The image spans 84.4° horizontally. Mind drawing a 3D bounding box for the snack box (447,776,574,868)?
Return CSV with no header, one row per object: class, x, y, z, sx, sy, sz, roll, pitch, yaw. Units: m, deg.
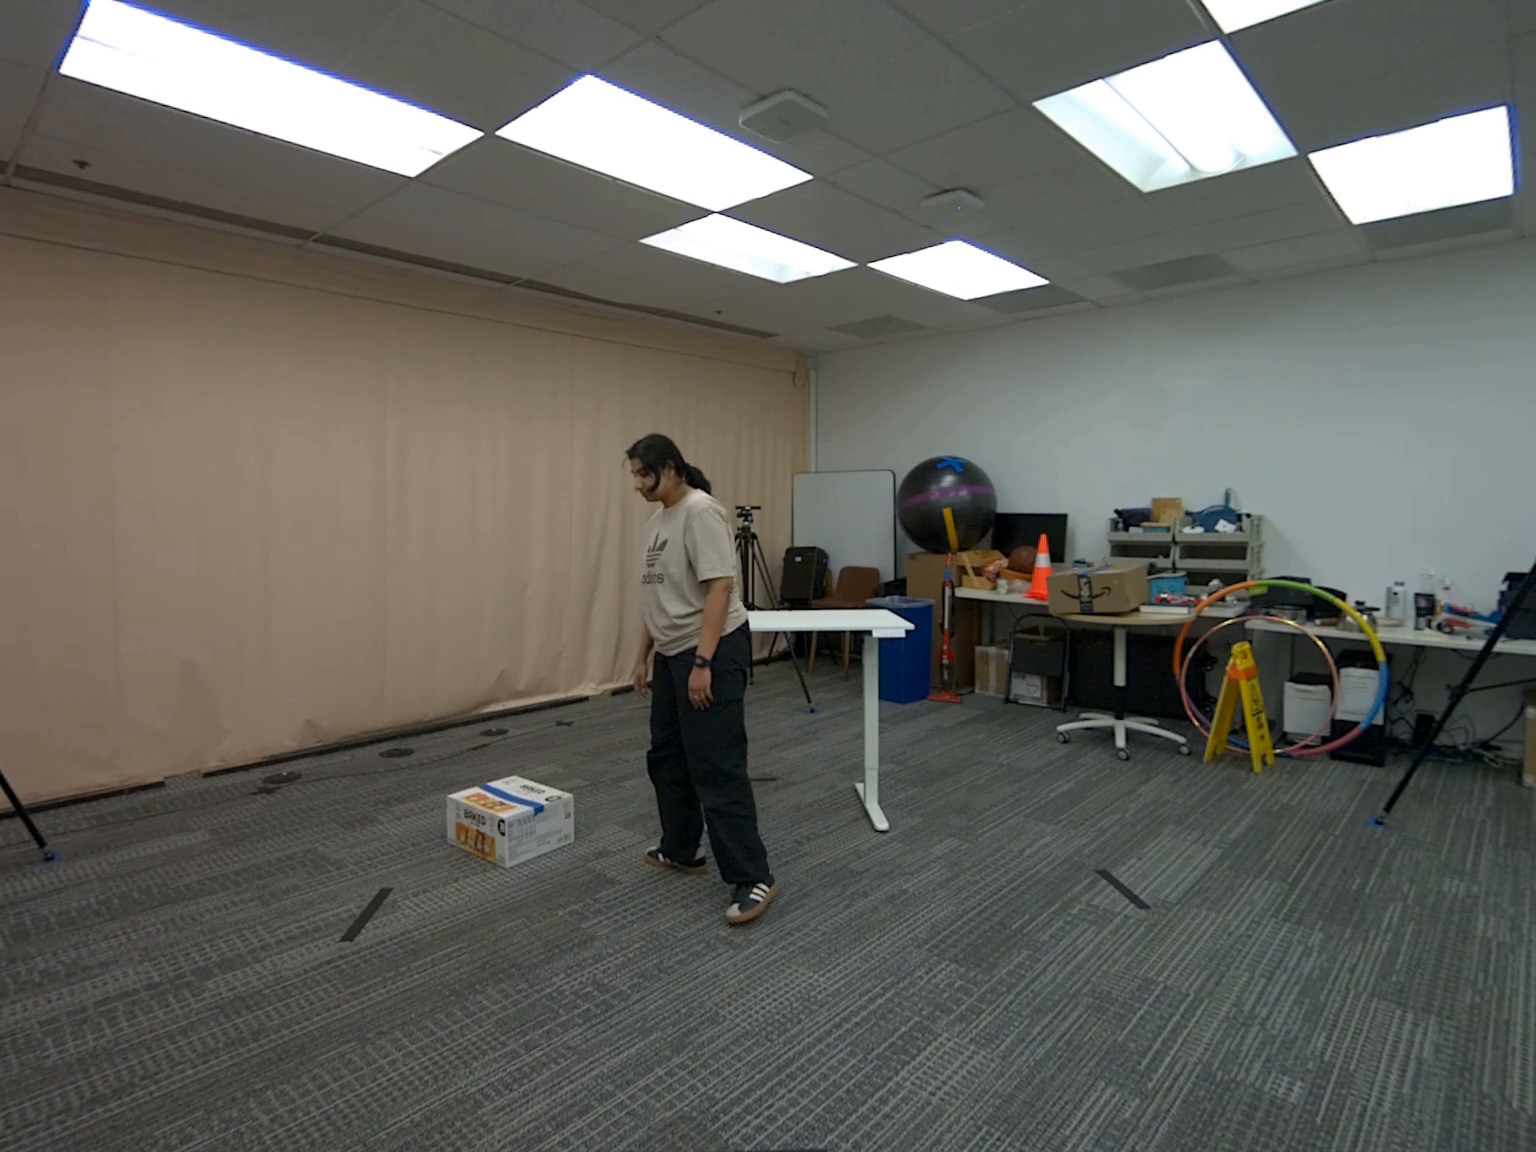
snack box,-1.071,1.012,3.493,0.418,0.205,0.330,3,6,38
